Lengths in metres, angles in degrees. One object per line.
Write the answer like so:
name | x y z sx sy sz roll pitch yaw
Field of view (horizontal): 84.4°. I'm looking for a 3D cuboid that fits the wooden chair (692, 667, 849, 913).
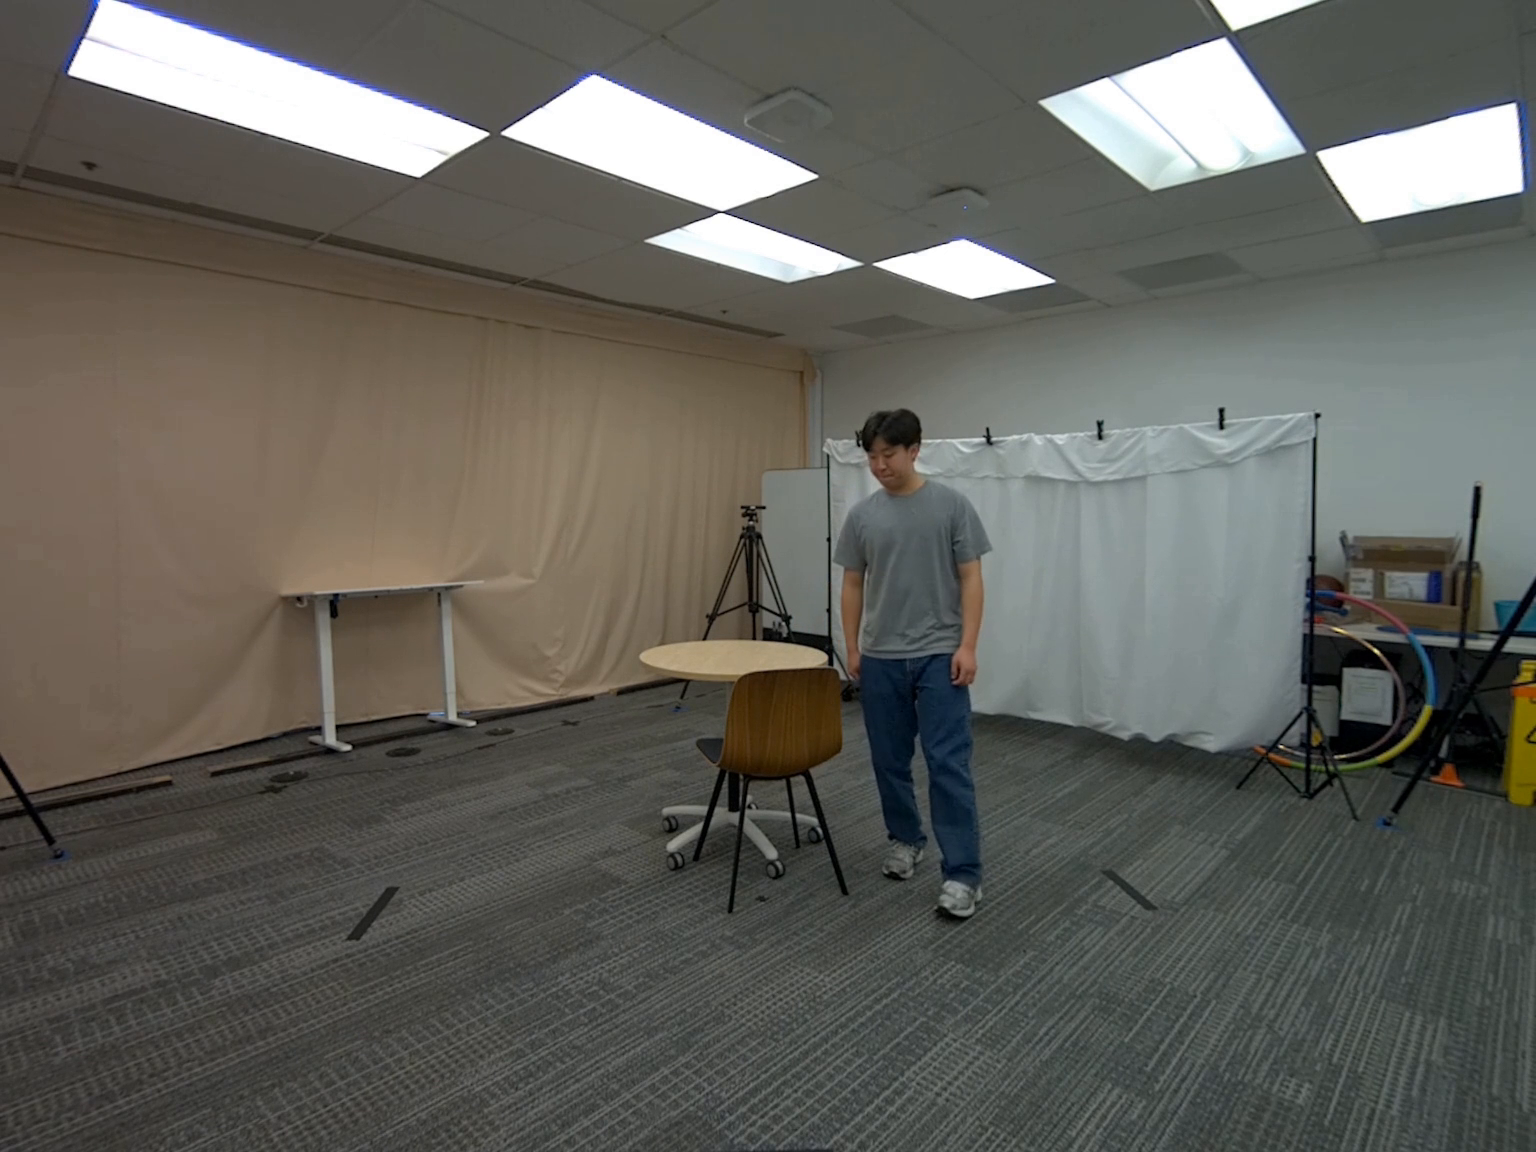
wooden chair | -0.003 0.704 3.130 0.469 0.873 0.535 -1 8 -19
